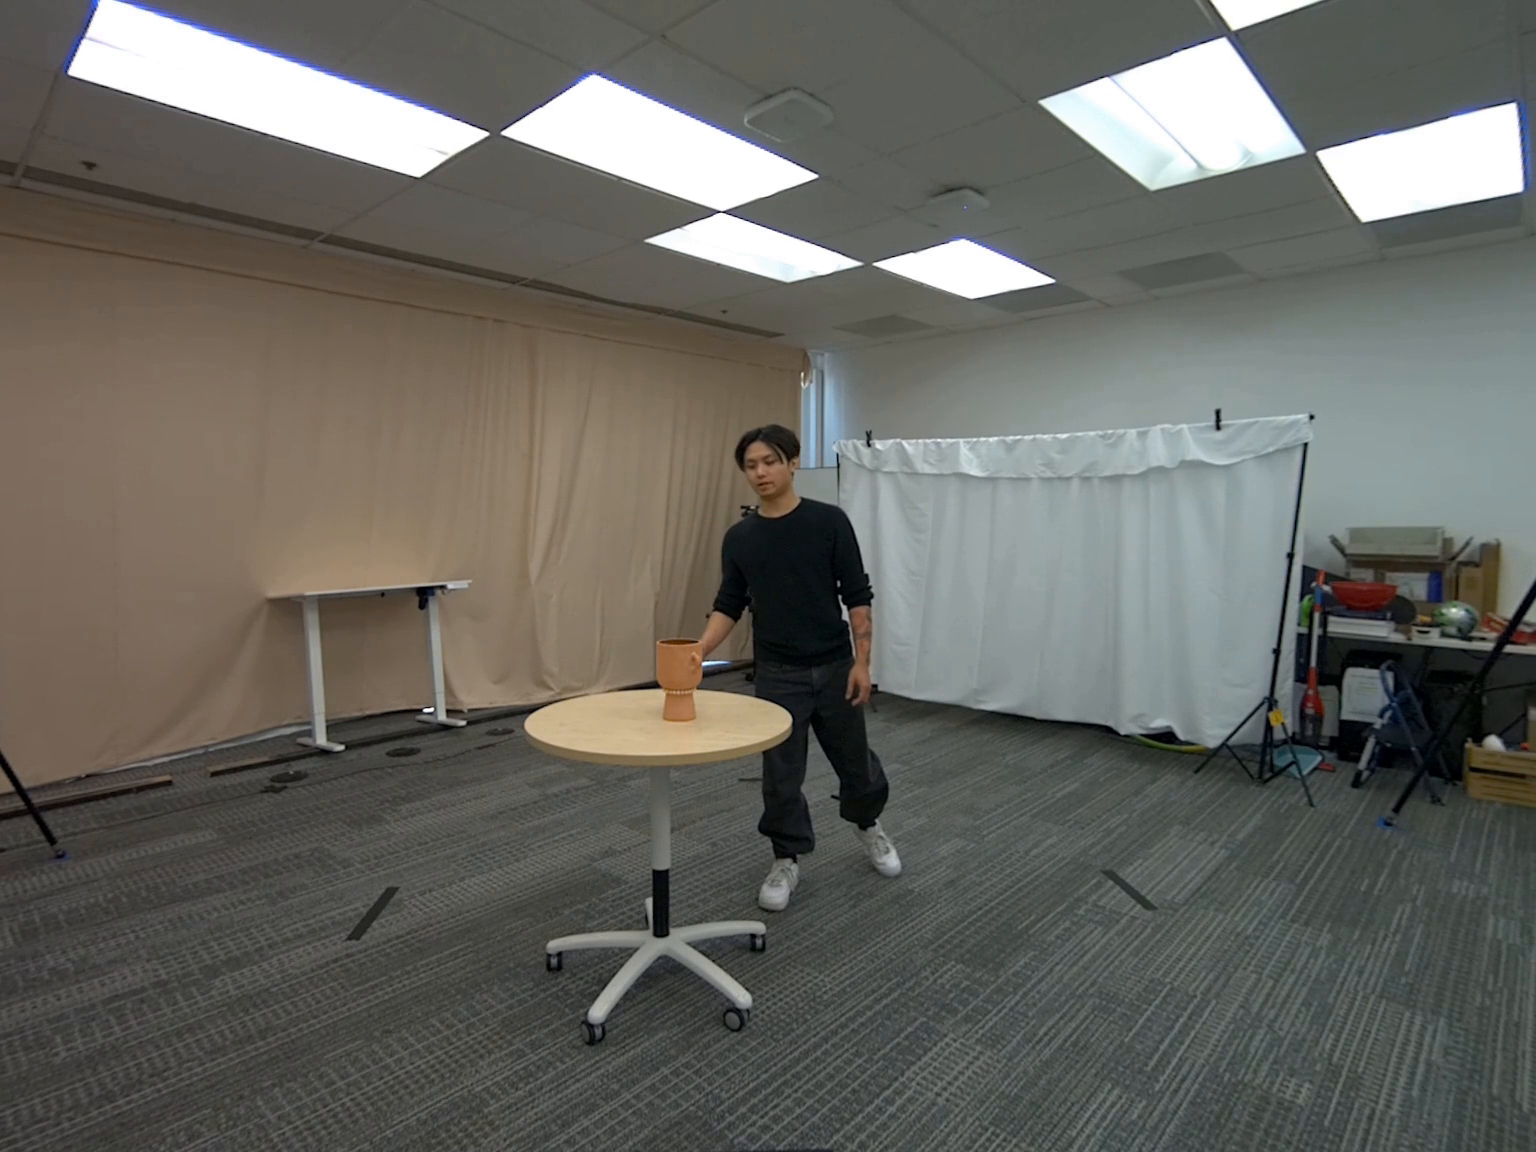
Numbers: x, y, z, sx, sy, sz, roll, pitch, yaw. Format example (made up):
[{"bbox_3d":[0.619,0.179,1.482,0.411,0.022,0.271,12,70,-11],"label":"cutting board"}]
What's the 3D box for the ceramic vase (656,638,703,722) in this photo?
[{"bbox_3d":[-0.255,0.301,2.423,0.134,0.219,0.159,0,2,-2],"label":"ceramic vase"}]
